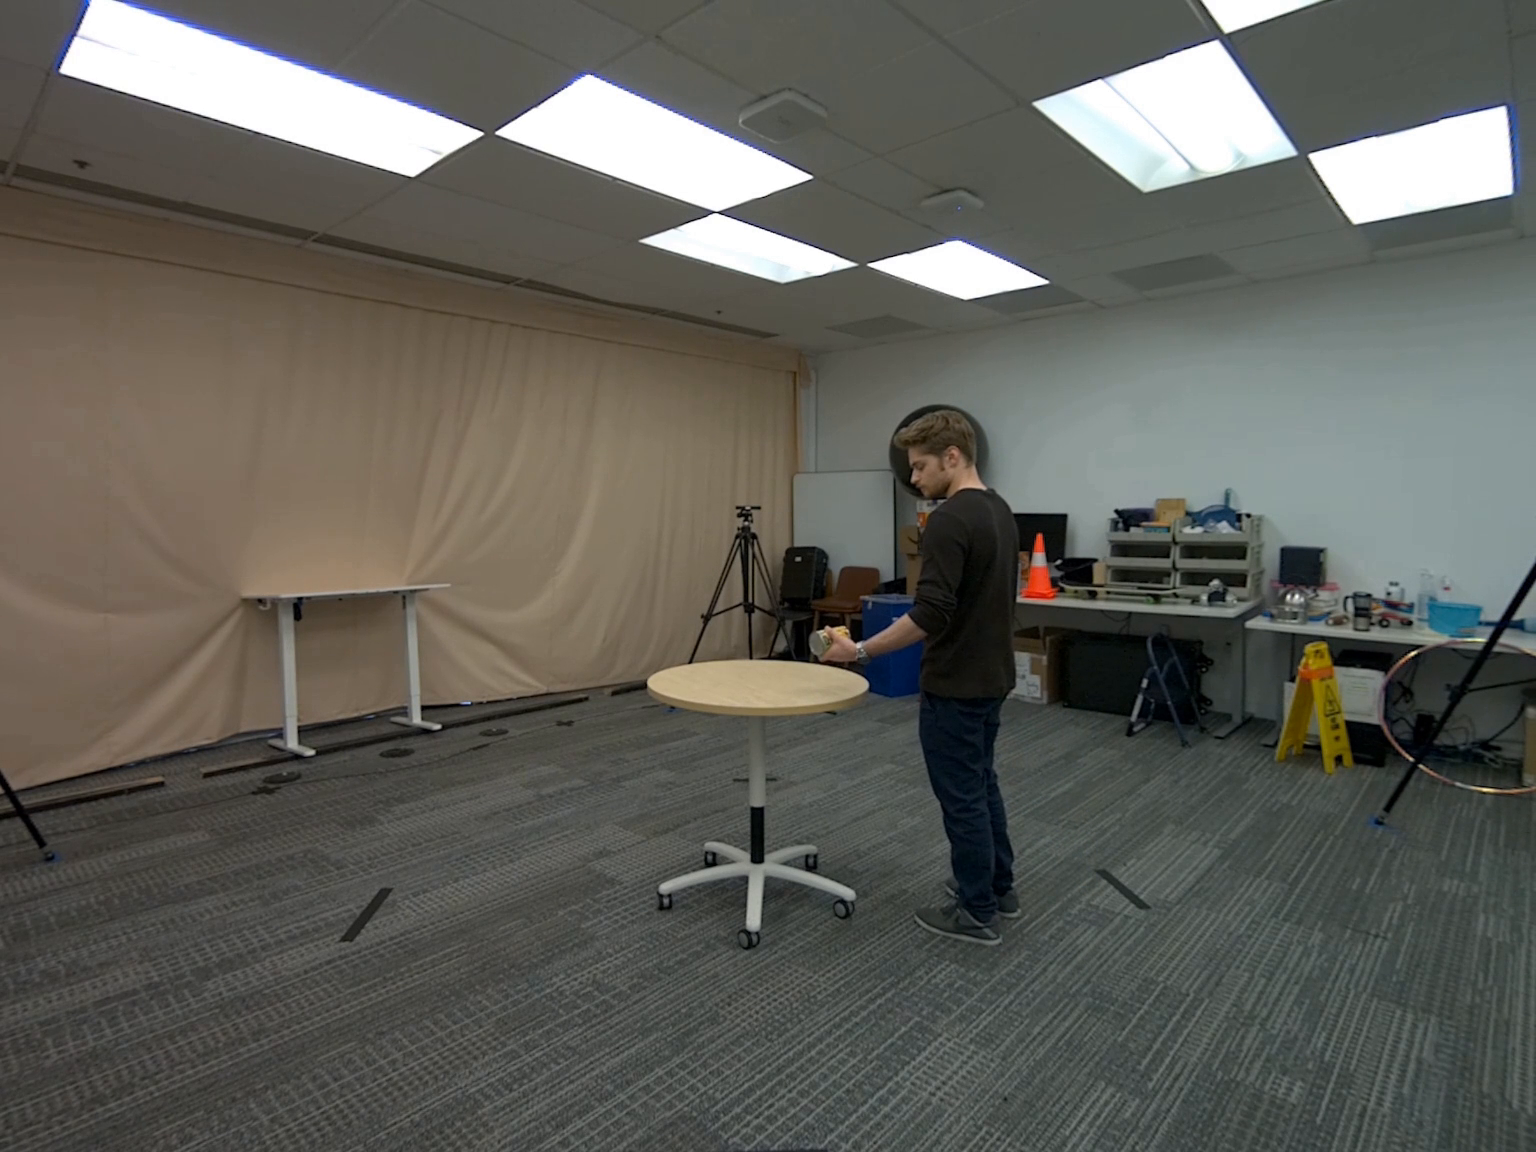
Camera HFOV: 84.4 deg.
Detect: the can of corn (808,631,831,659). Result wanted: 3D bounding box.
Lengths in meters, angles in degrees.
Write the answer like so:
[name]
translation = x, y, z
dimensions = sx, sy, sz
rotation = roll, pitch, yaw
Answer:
[can of corn]
translation = 0.202, 0.204, 2.693
dimensions = 0.109, 0.074, 0.076
rotation = -5, 5, -21
